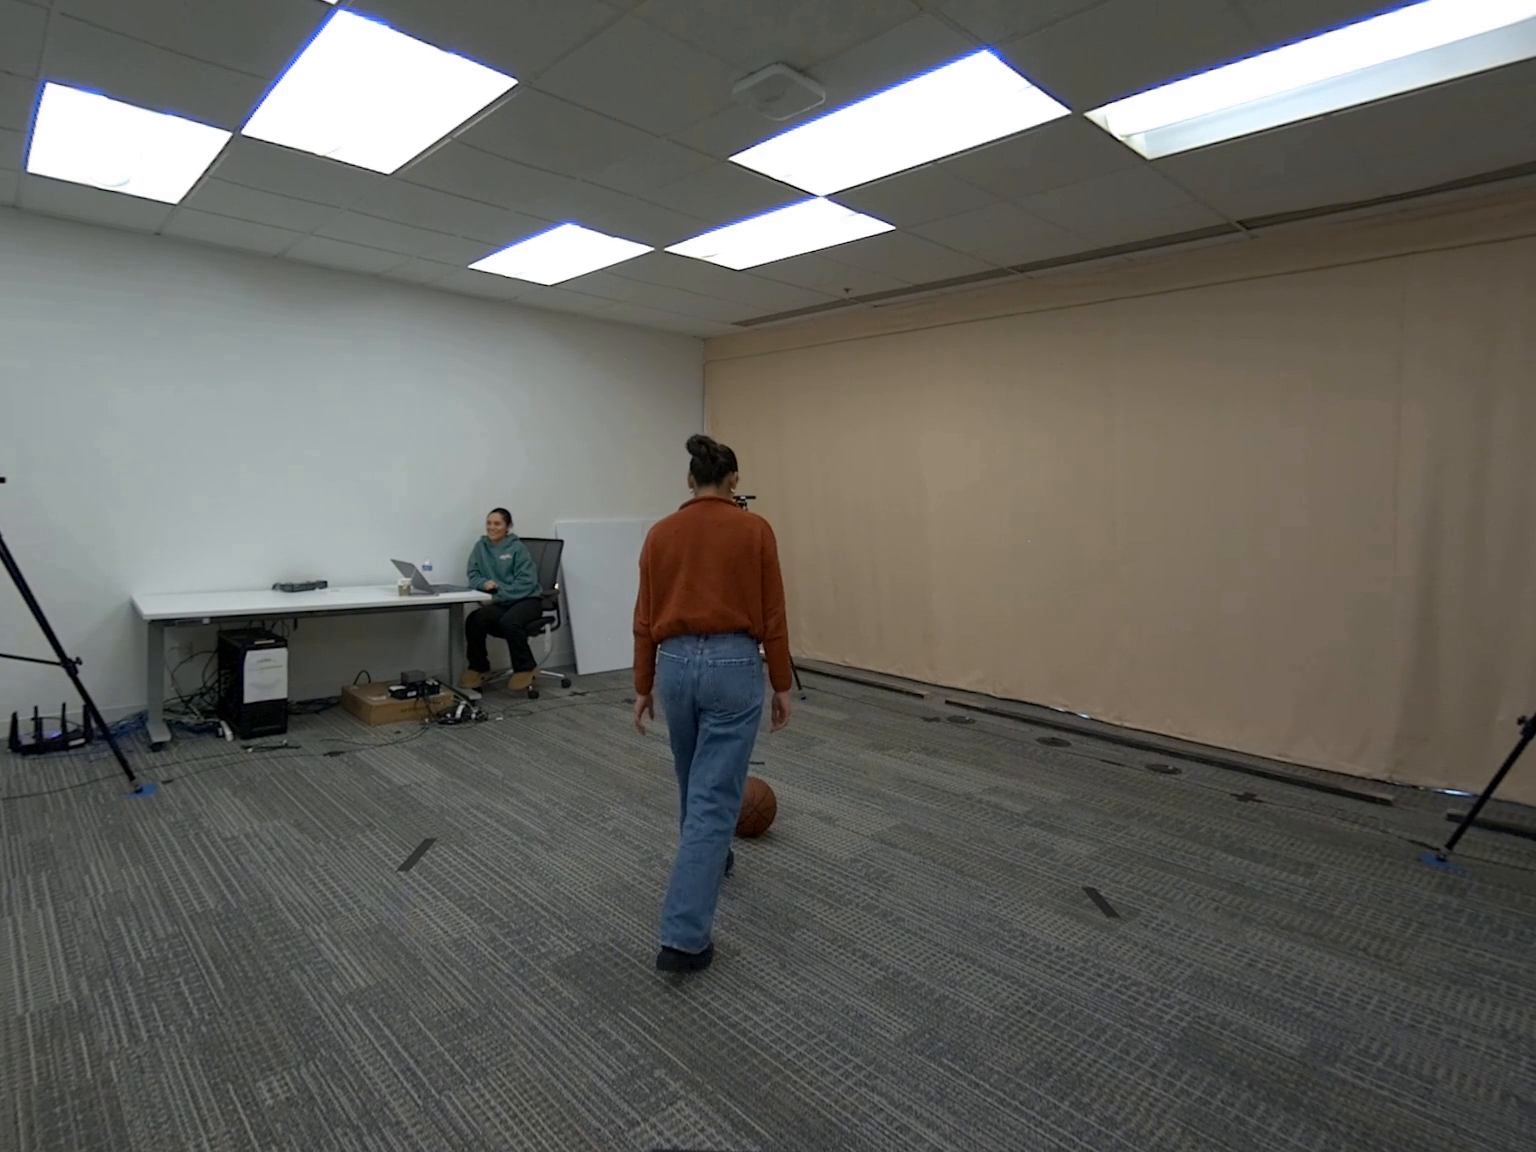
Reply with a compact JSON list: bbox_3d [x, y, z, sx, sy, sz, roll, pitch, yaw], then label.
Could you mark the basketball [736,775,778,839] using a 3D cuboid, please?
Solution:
[{"bbox_3d":[-0.091,0.949,3.481,0.236,0.235,0.237,1,4,-1],"label":"basketball"}]
